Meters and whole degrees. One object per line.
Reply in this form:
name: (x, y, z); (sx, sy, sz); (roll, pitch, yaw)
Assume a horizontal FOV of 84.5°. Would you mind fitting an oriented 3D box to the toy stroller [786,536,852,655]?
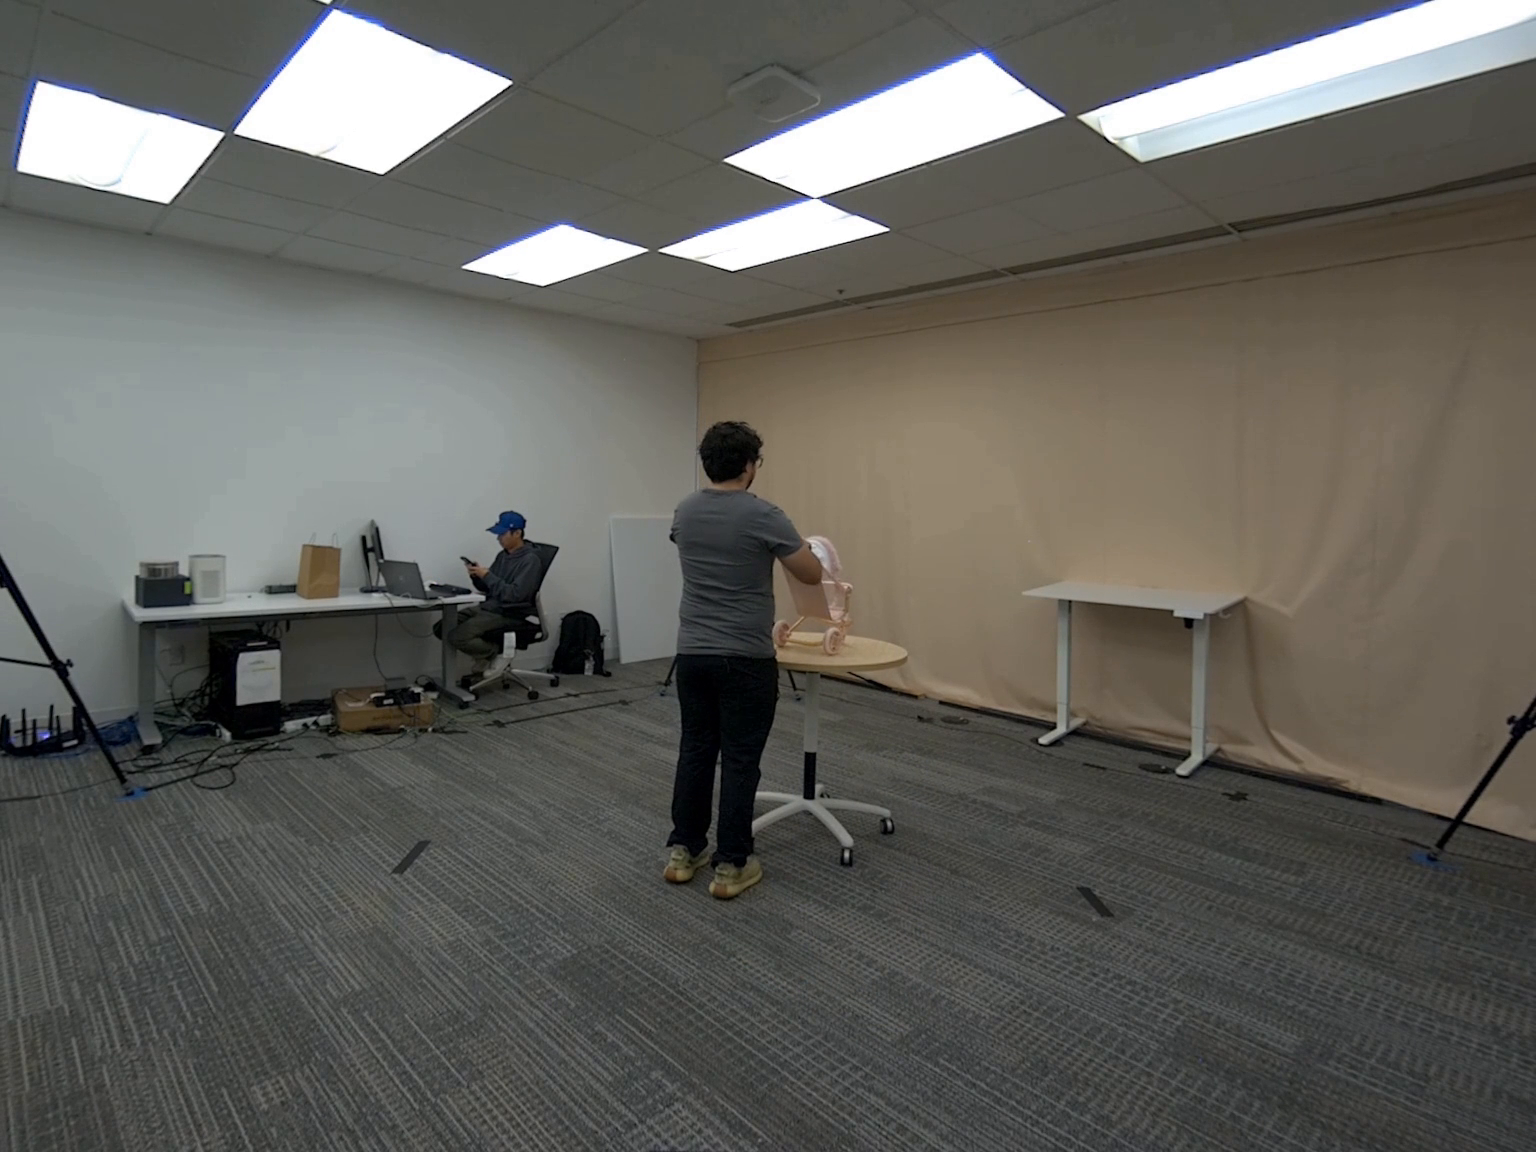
toy stroller: (0.192, 0.076, 3.457); (0.289, 0.528, 0.337); (6, 20, 41)
